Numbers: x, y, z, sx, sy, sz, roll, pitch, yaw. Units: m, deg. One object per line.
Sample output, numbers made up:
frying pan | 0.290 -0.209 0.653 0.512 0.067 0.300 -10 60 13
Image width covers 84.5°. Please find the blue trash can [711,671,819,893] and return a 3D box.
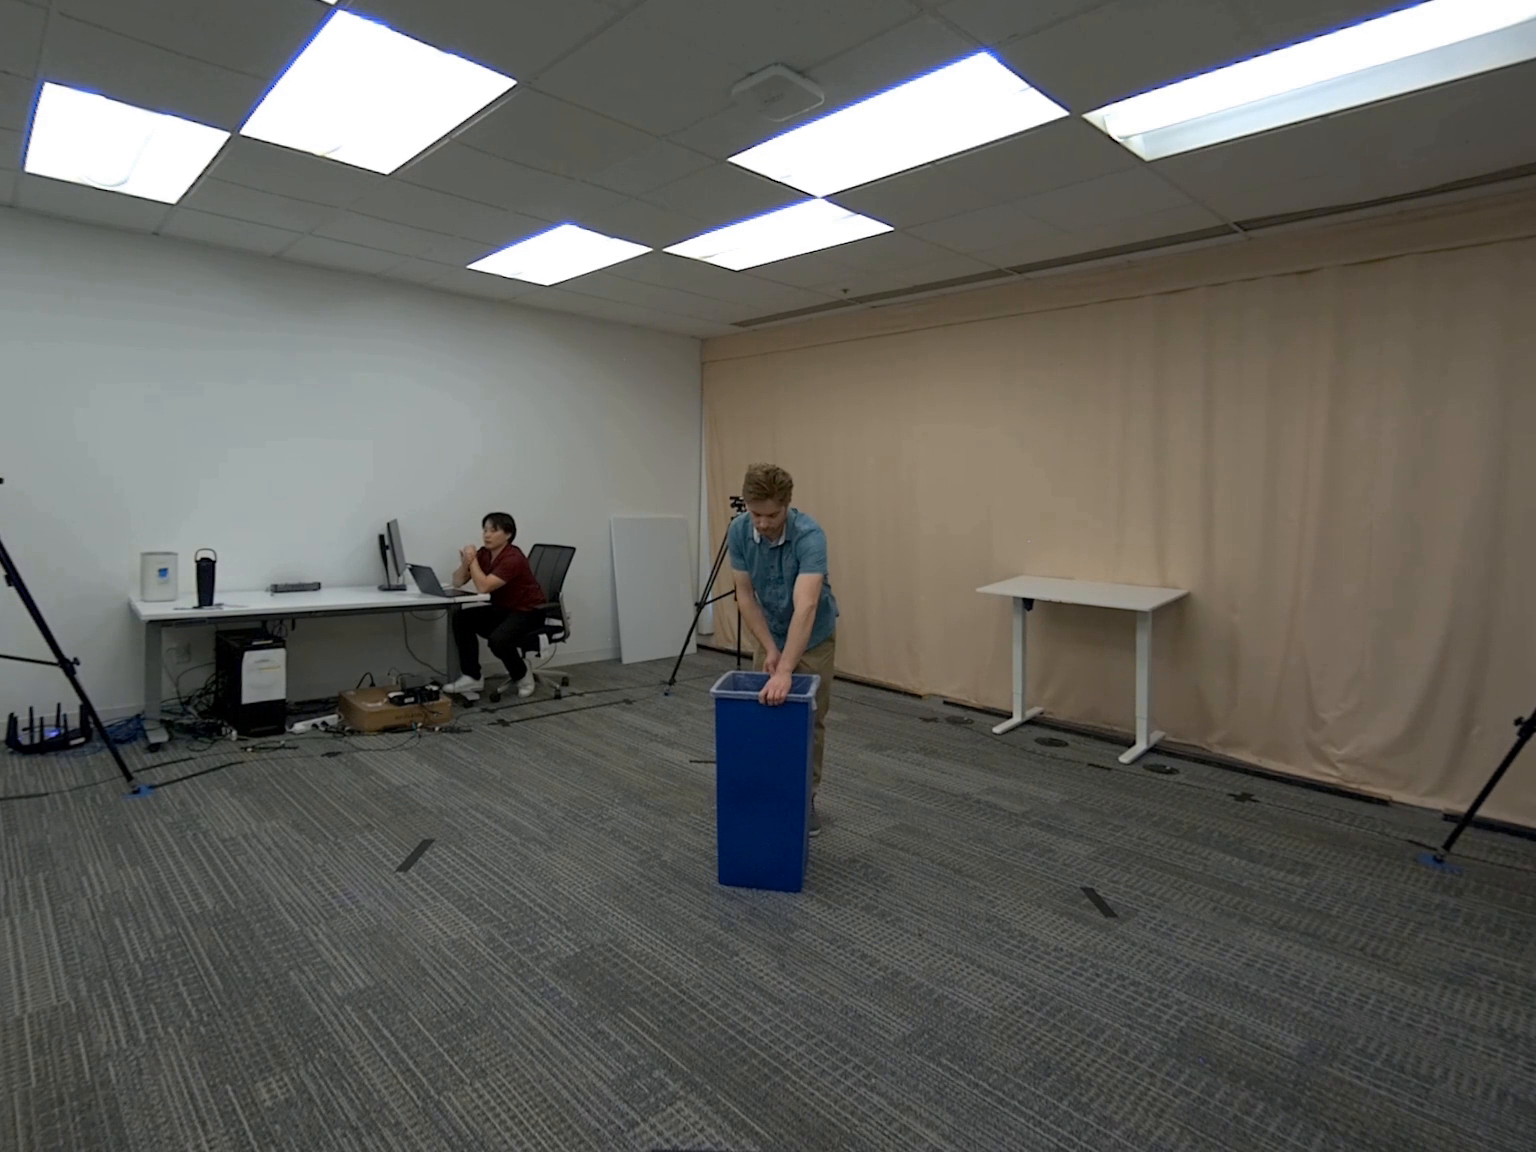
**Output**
blue trash can | -0.021 0.747 3.134 0.381 0.711 0.372 1 4 8
